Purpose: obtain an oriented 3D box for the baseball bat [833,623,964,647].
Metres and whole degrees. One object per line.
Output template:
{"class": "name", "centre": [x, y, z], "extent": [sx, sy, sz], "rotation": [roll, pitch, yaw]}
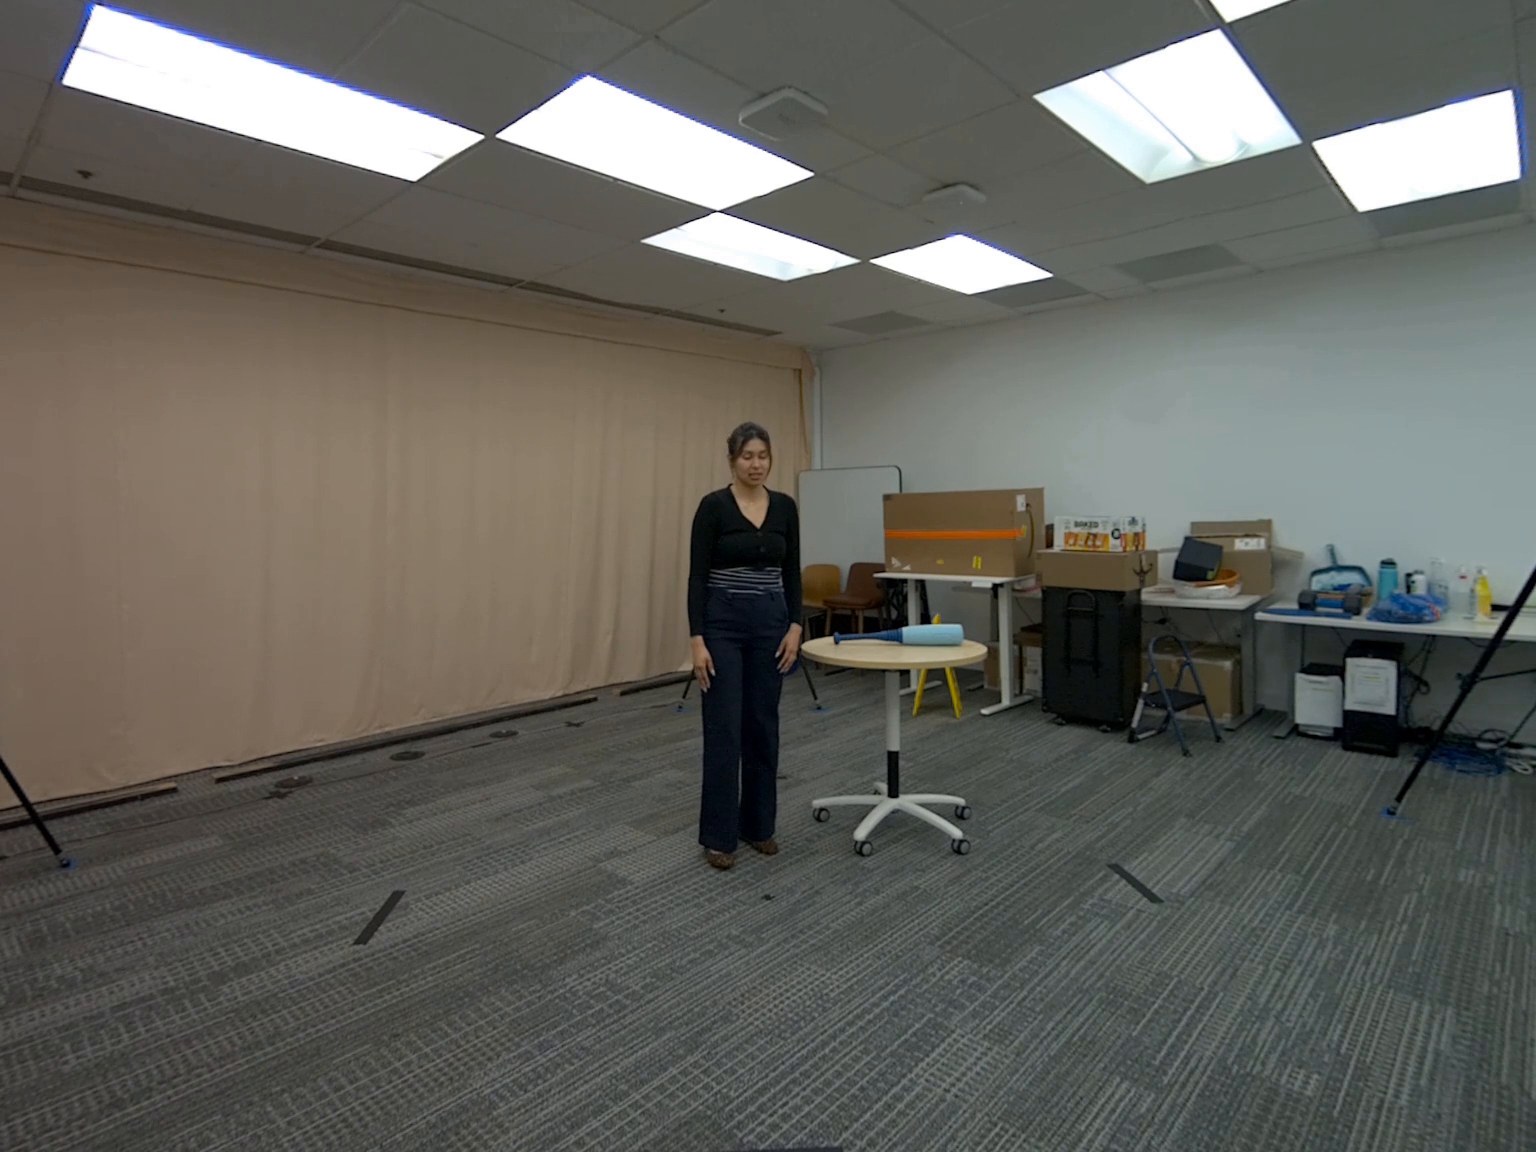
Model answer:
{"class": "baseball bat", "centre": [0.556, 0.258, 3.593], "extent": [0.549, 0.089, 0.088], "rotation": [-2, 4, 10]}
